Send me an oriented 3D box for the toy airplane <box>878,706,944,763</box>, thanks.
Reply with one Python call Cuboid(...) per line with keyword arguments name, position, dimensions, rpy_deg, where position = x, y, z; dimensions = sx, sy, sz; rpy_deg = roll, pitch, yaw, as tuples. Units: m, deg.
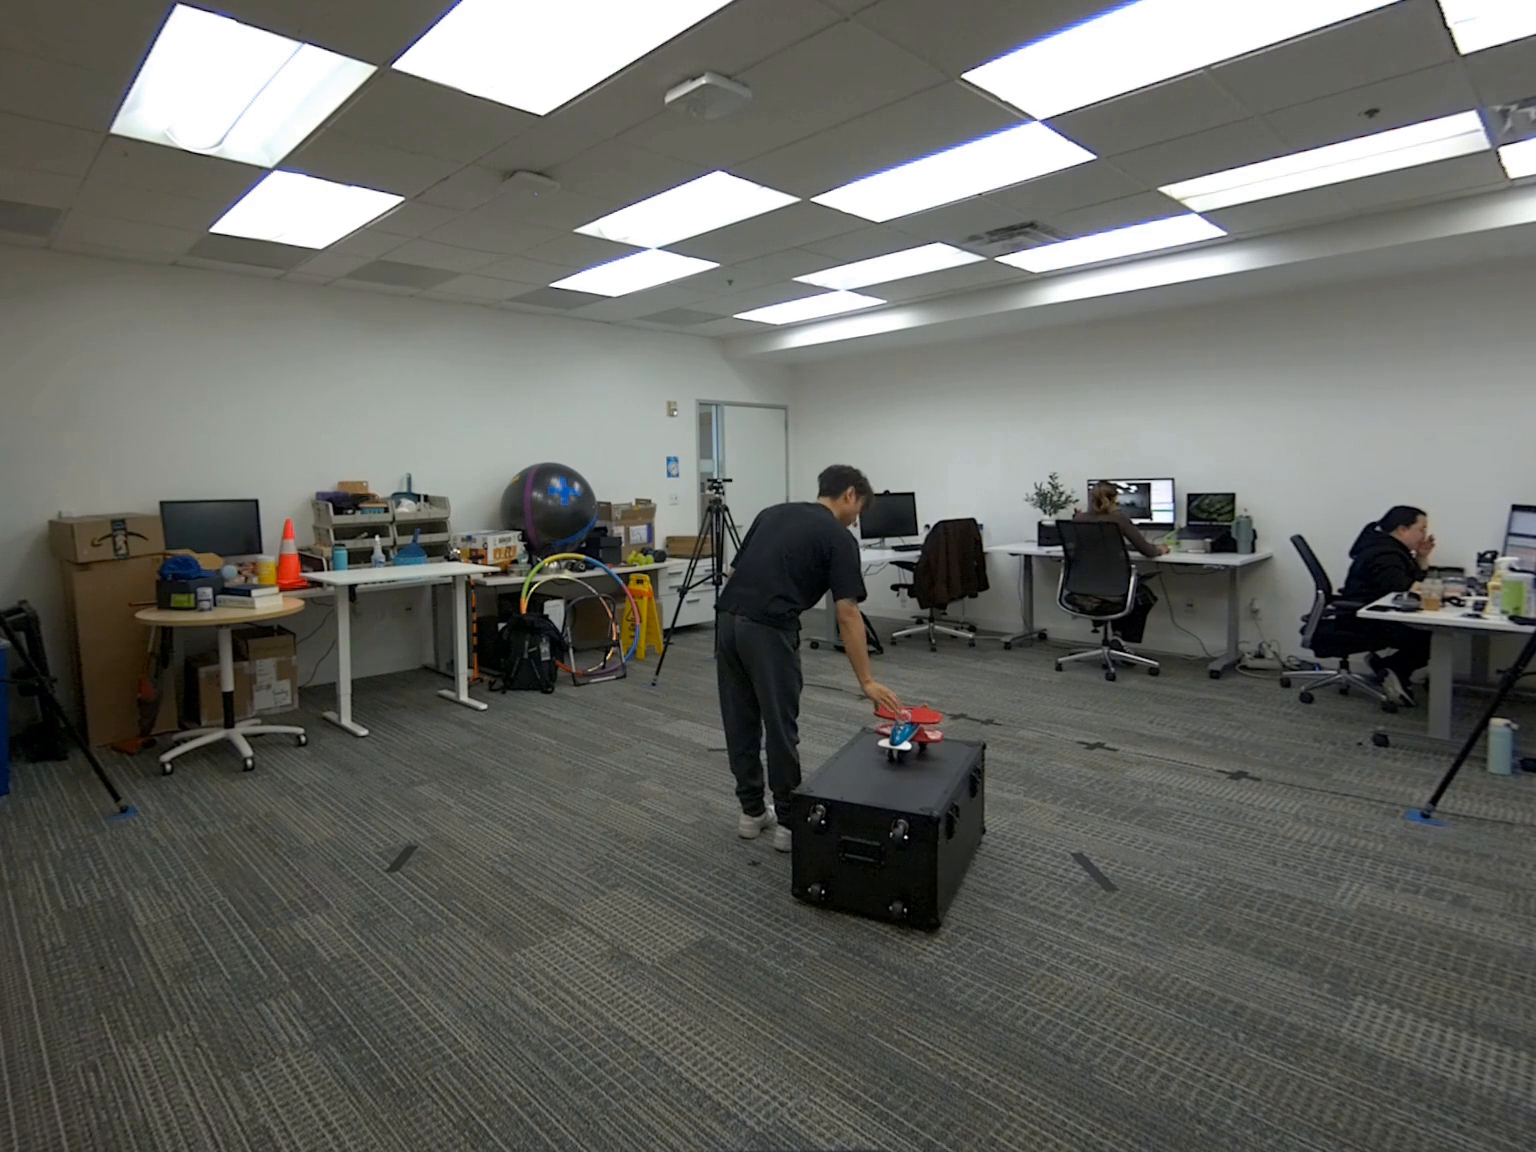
Cuboid(name="toy airplane", position=(0.524, 0.572, 3.152), dimensions=(0.252, 0.156, 0.259), rpy_deg=(-1, 5, 2))
